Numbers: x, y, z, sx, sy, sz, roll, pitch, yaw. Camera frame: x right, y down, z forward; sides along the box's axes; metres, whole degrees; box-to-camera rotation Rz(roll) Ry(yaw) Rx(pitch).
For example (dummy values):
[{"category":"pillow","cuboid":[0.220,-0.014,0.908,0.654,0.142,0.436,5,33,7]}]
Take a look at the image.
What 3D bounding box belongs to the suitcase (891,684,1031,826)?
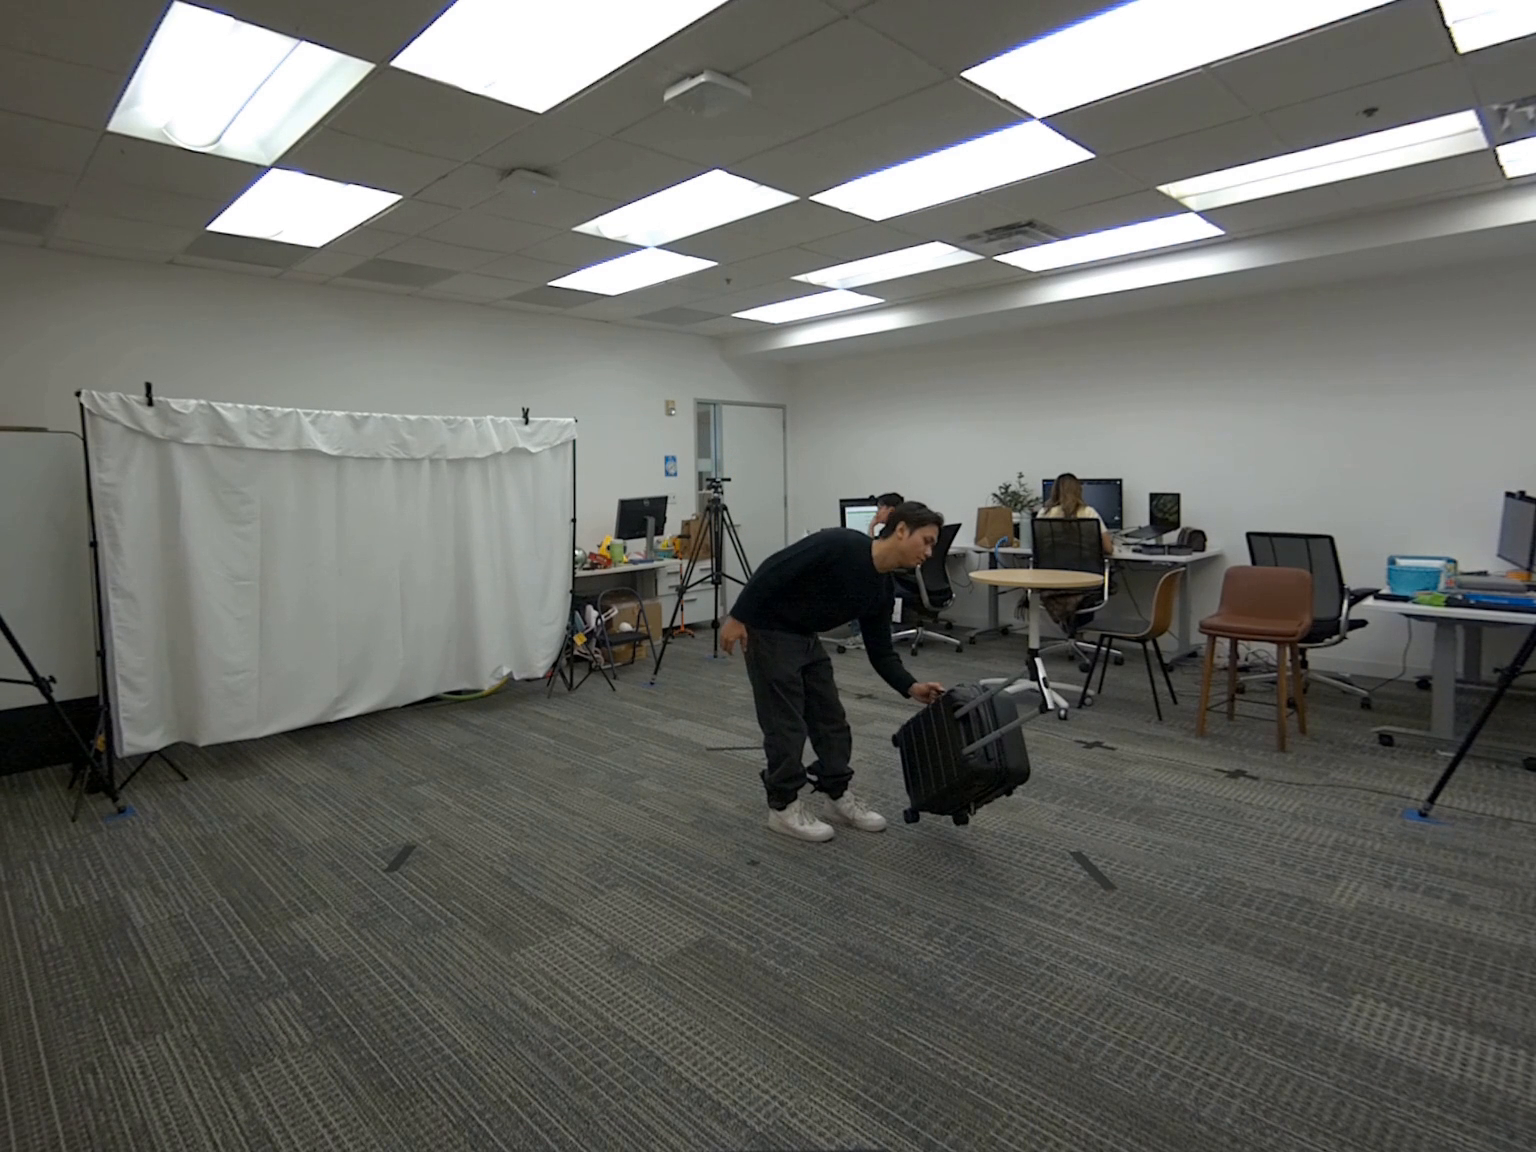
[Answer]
[{"category":"suitcase","cuboid":[0.769,0.548,2.955,0.252,0.394,0.971,6,-31,-19]}]
